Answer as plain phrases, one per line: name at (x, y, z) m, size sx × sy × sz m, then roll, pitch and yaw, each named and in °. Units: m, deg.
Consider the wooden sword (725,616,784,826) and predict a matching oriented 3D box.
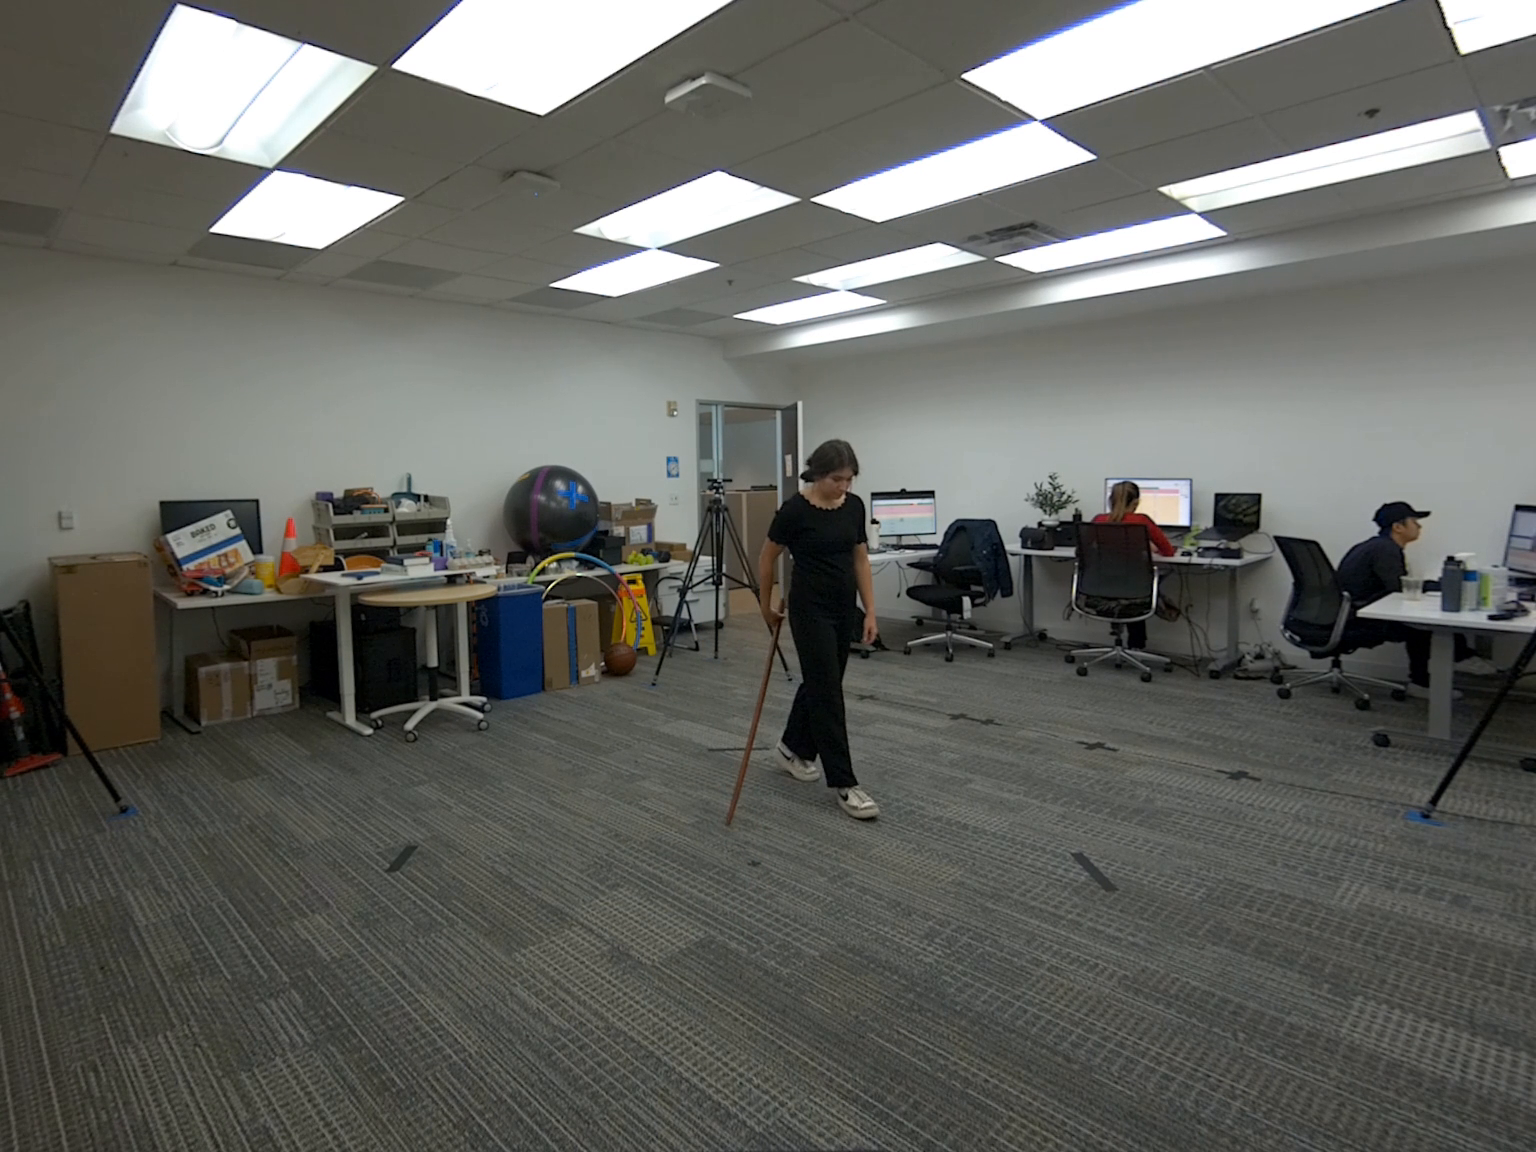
wooden sword at (-0.046, 0.577, 3.698) m, size 0.051 × 1.042 × 0.023 m, roll 12°, pitch -30°, yaw 2°
